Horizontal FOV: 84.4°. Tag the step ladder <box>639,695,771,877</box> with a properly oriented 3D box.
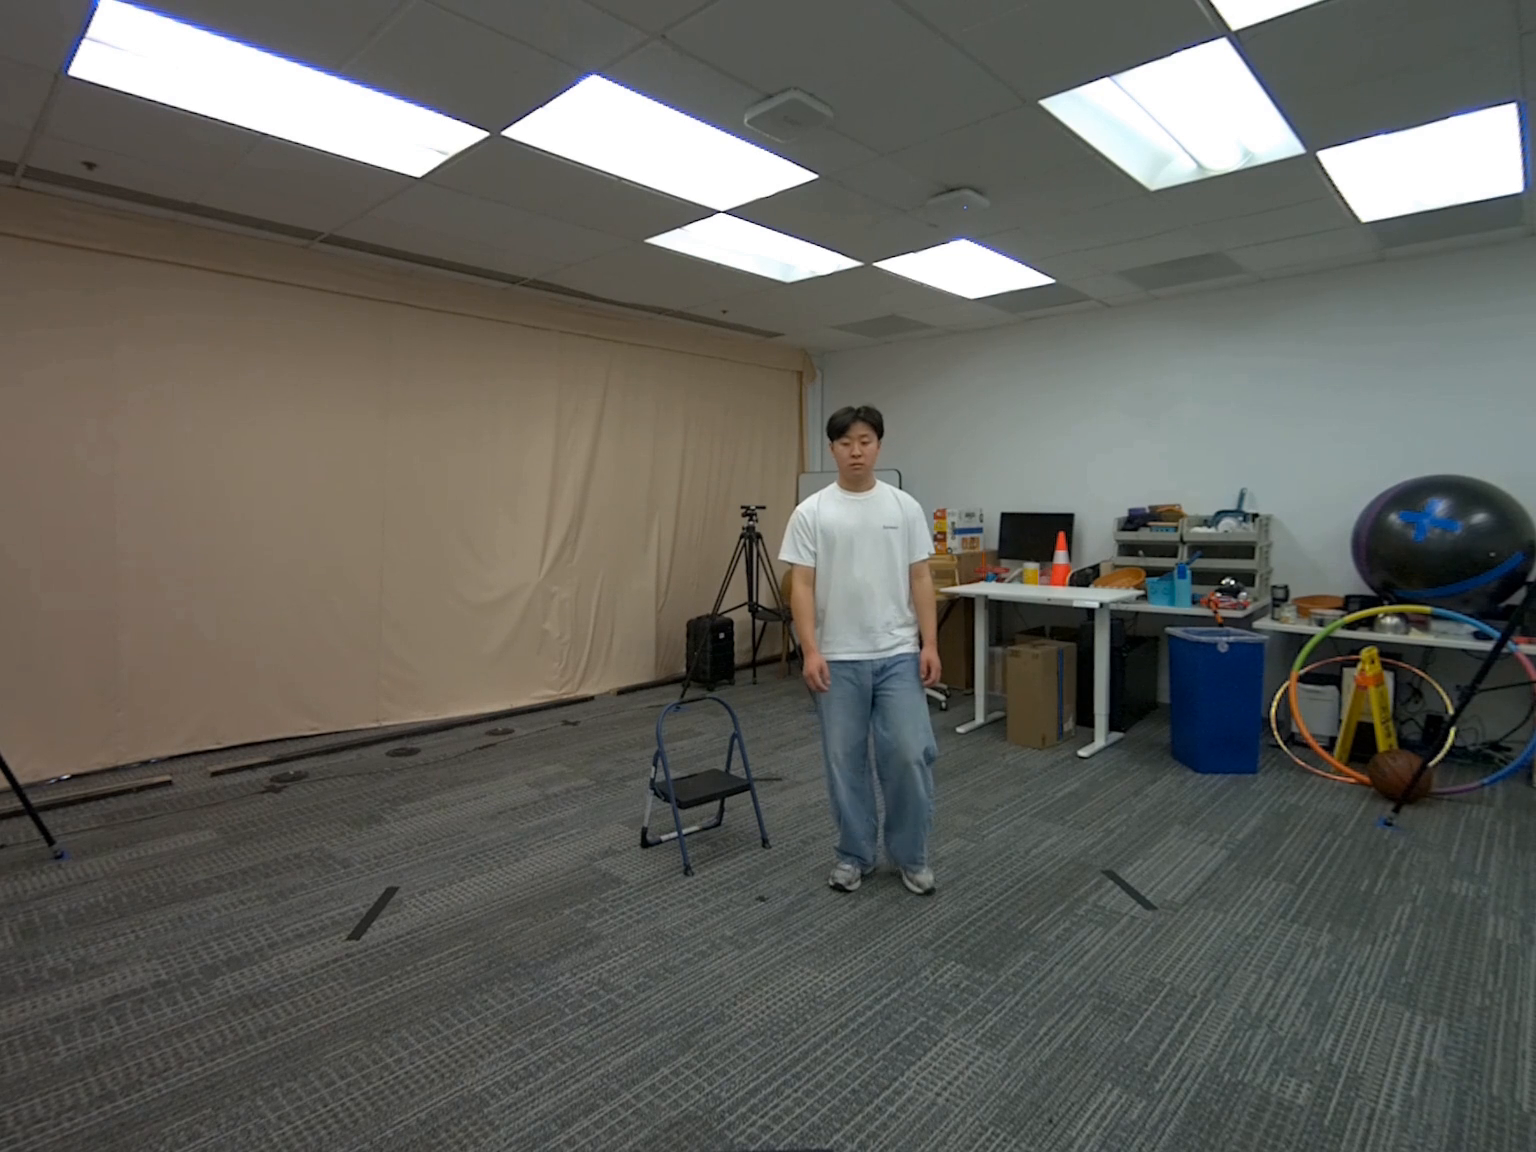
[{"bbox_3d":[-0.258,0.804,3.421,0.417,0.605,0.361,-3,4,-40],"label":"step ladder"}]
